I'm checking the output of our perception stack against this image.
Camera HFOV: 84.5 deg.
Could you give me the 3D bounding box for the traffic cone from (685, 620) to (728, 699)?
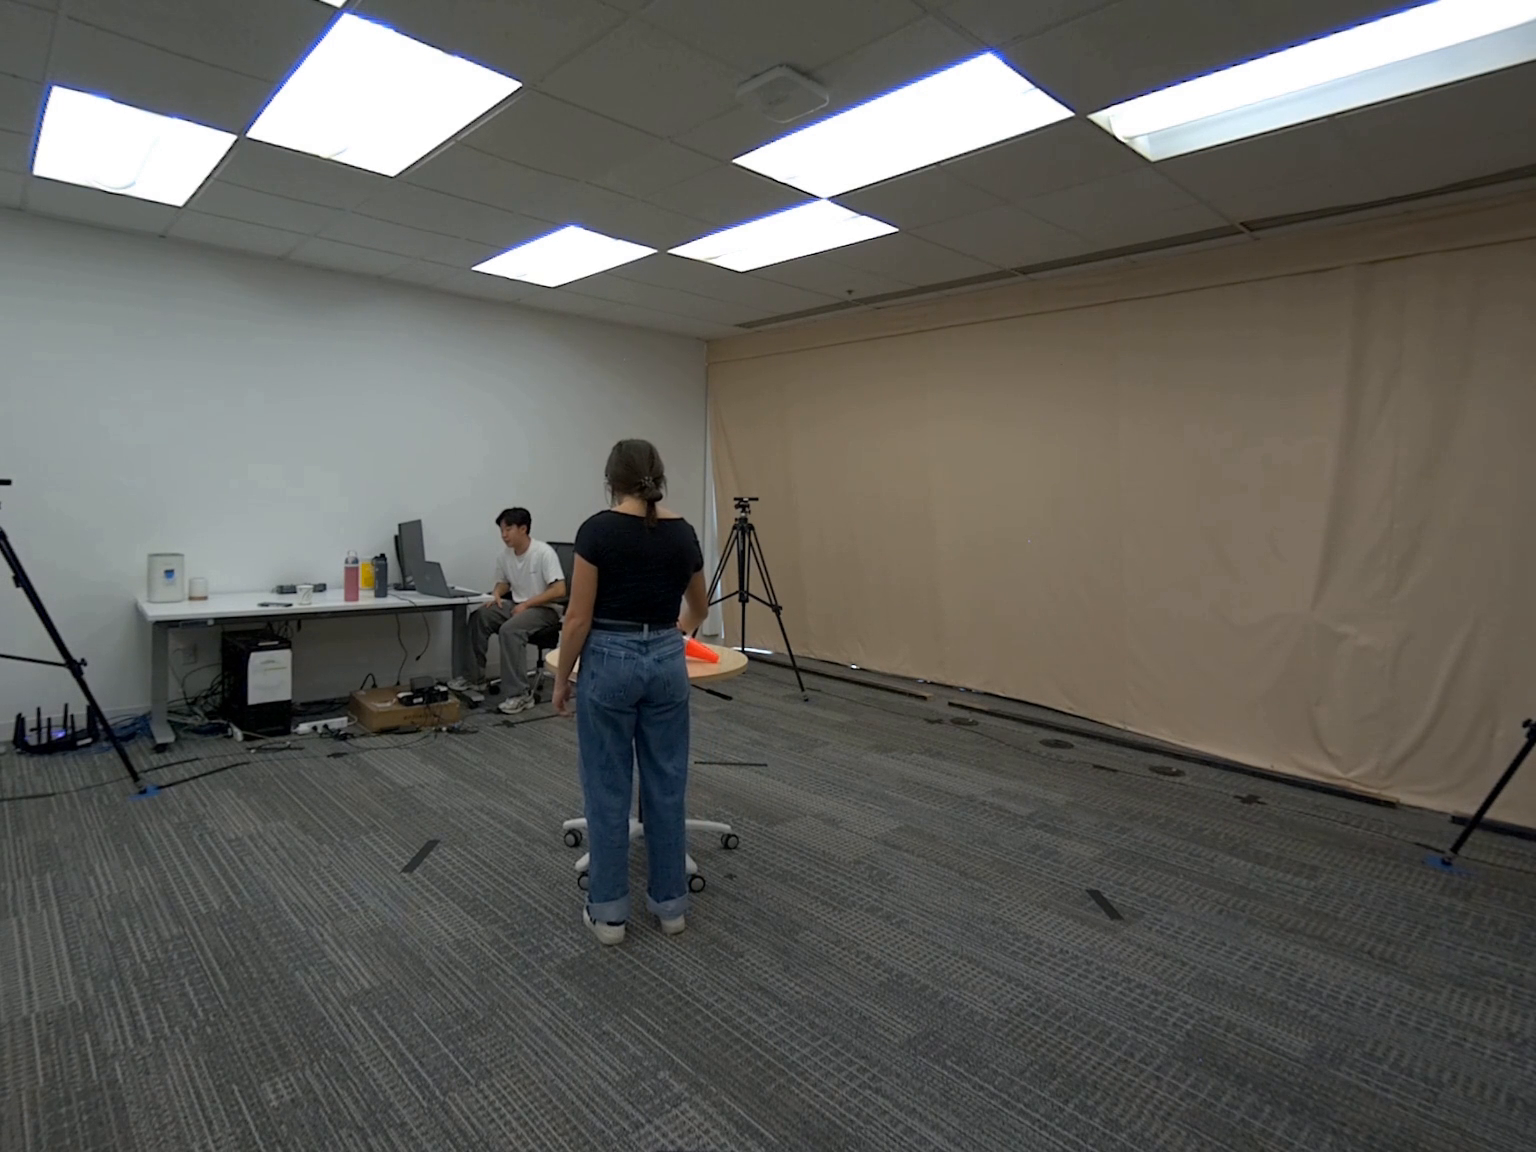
[{"bbox_3d":[-0.375,0.256,3.151,0.386,0.205,0.202,21,-30,7],"label":"traffic cone"}]
